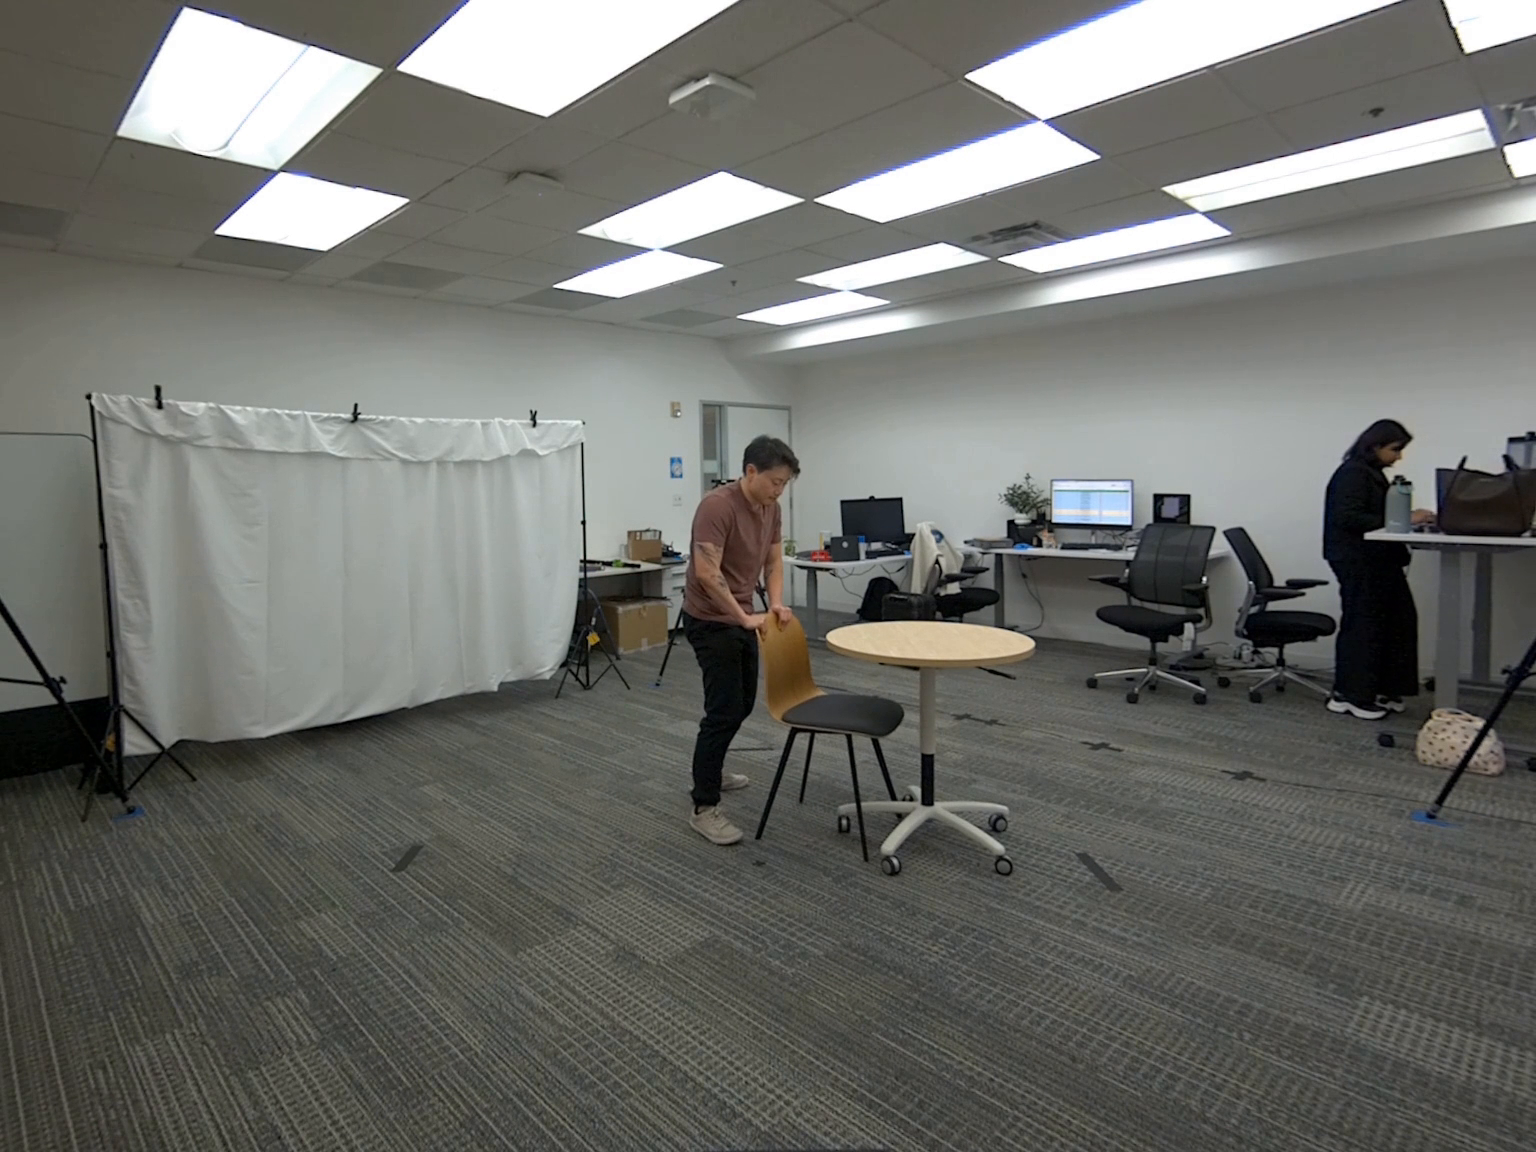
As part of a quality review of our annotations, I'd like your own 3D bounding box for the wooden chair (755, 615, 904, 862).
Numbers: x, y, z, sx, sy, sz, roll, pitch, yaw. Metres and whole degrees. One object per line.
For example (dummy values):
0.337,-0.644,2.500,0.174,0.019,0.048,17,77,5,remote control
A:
0.249,0.582,3.375,0.535,0.876,0.468,-4,2,28,wooden chair
